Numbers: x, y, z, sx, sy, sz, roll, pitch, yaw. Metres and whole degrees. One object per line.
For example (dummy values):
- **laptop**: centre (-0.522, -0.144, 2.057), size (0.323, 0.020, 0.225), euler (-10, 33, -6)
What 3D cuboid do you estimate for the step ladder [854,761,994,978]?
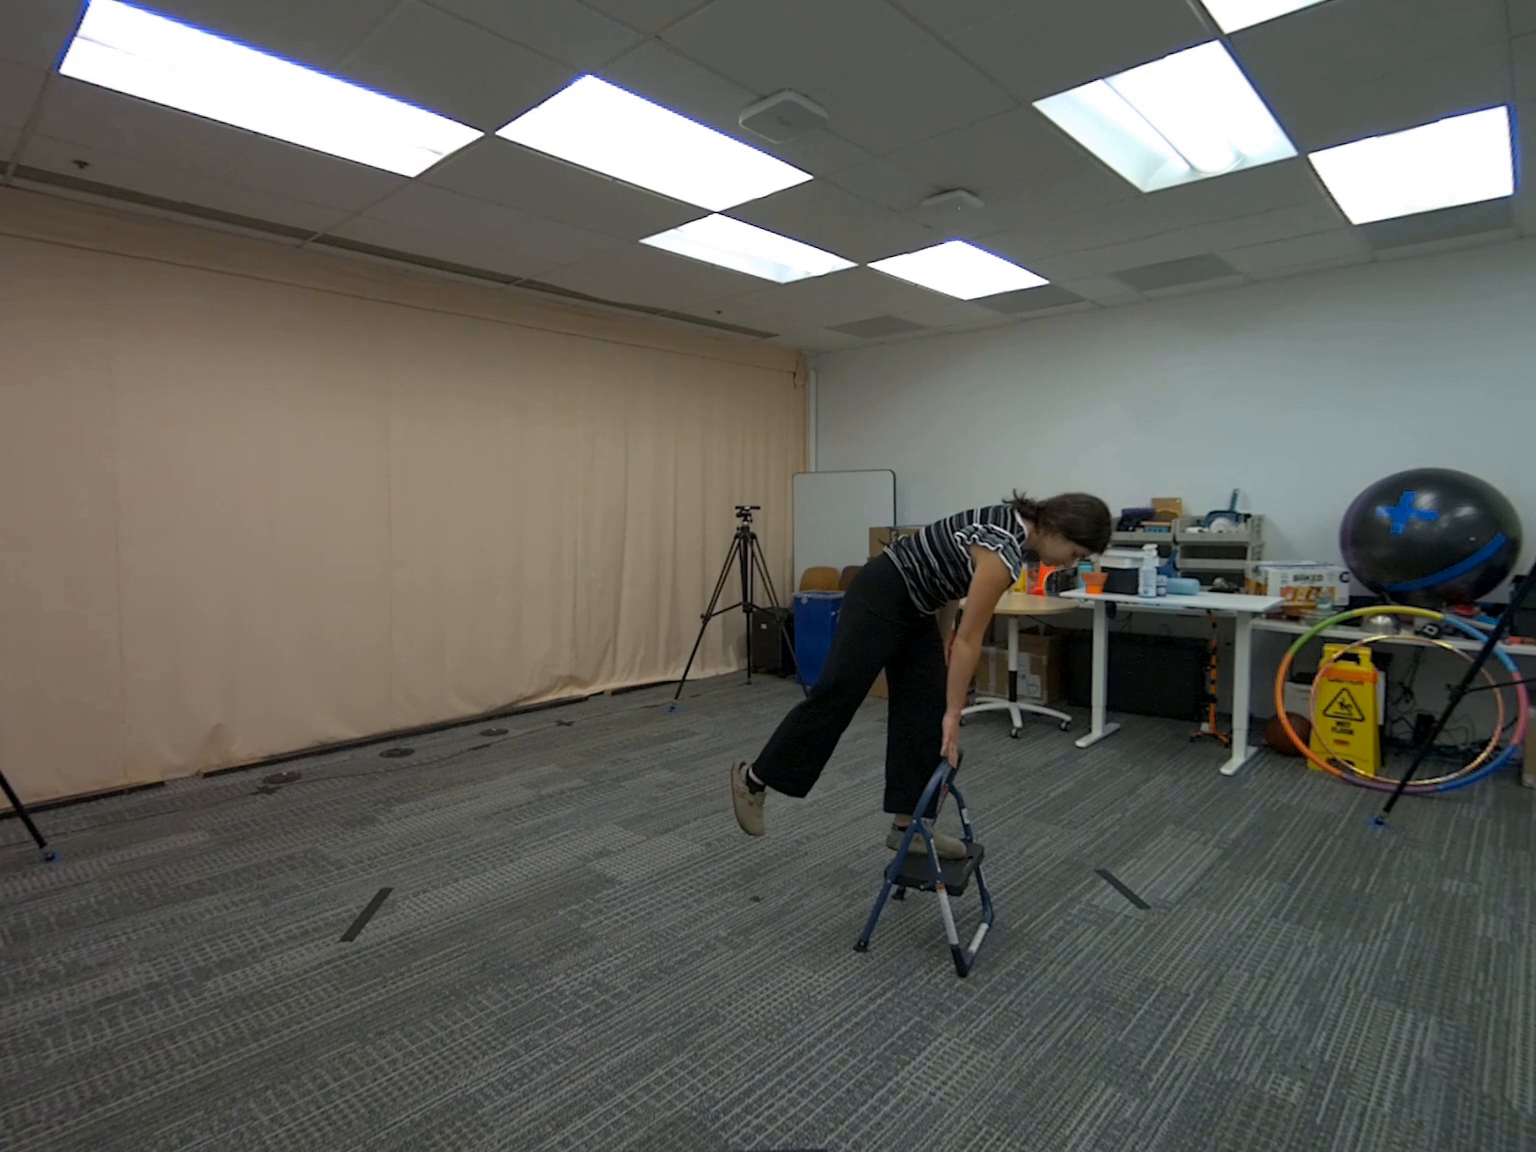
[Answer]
- **step ladder**: centre (0.521, 0.864, 2.719), size (0.359, 0.604, 0.420), euler (2, 4, 27)
